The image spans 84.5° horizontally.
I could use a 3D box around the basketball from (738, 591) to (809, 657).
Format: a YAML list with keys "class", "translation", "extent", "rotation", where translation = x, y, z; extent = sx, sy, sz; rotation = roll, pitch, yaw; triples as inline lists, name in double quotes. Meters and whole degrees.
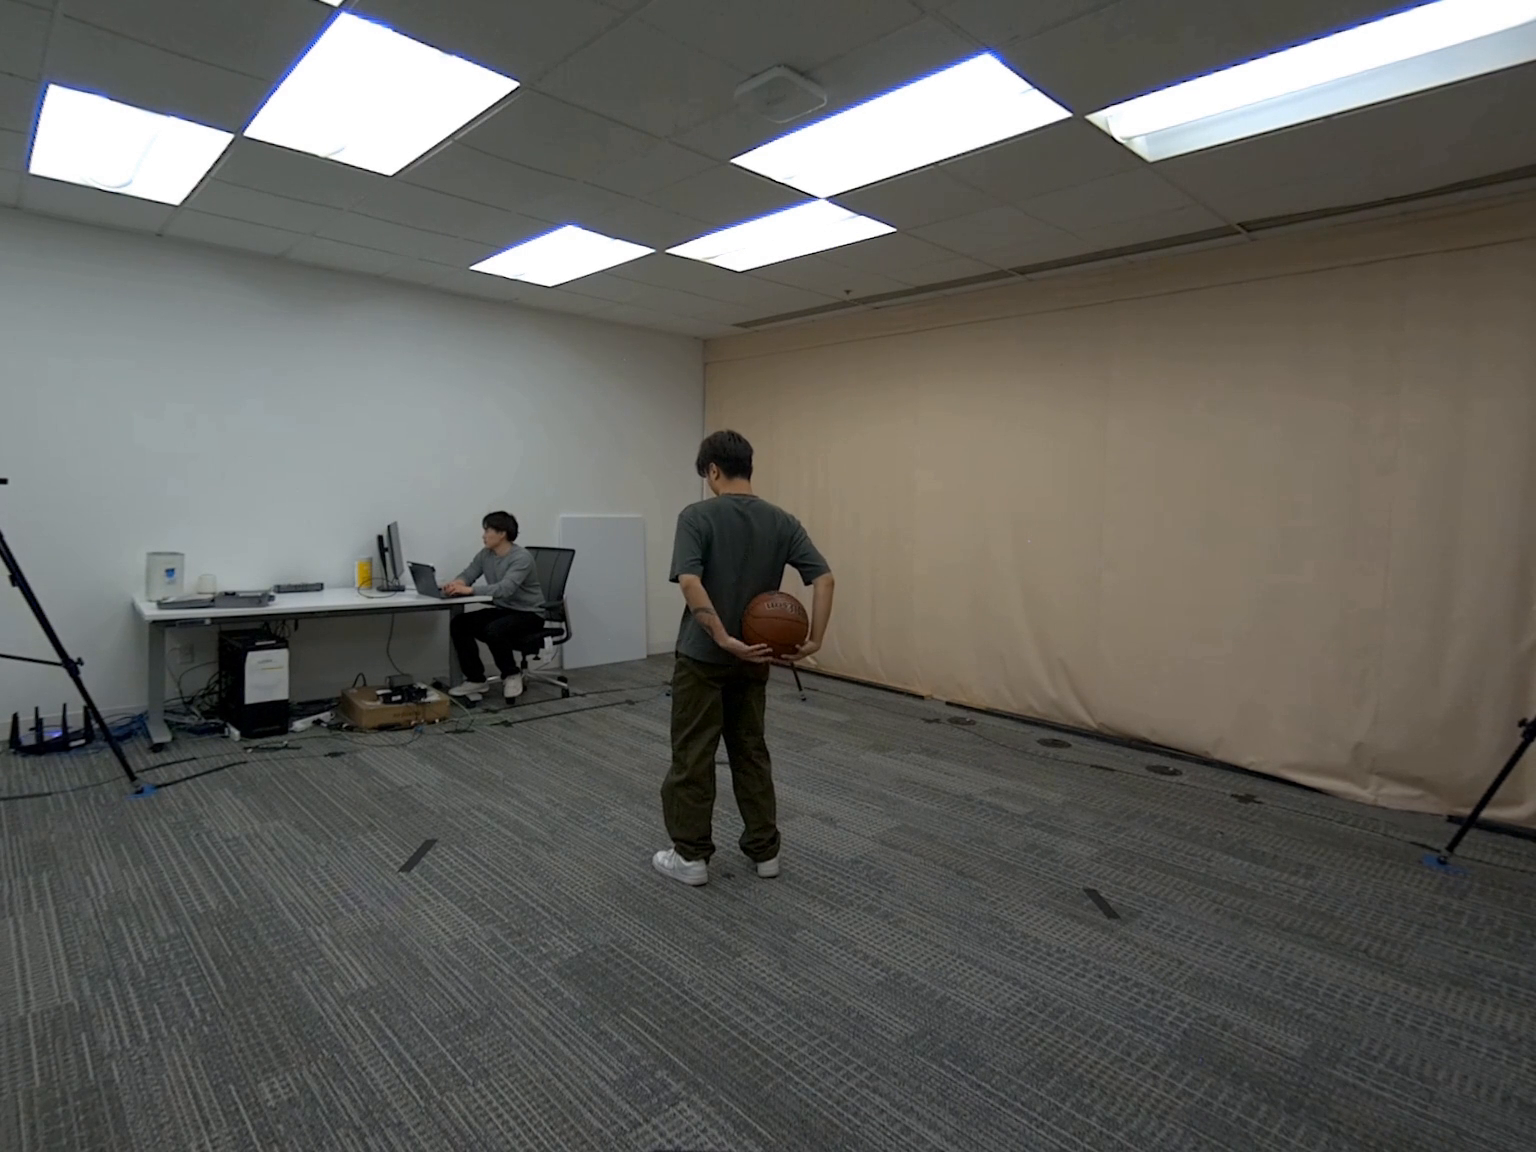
- class: "basketball"
  translation: [0.014, 0.166, 2.992]
  extent: [0.236, 0.235, 0.237]
  rotation: [1, 4, -1]
